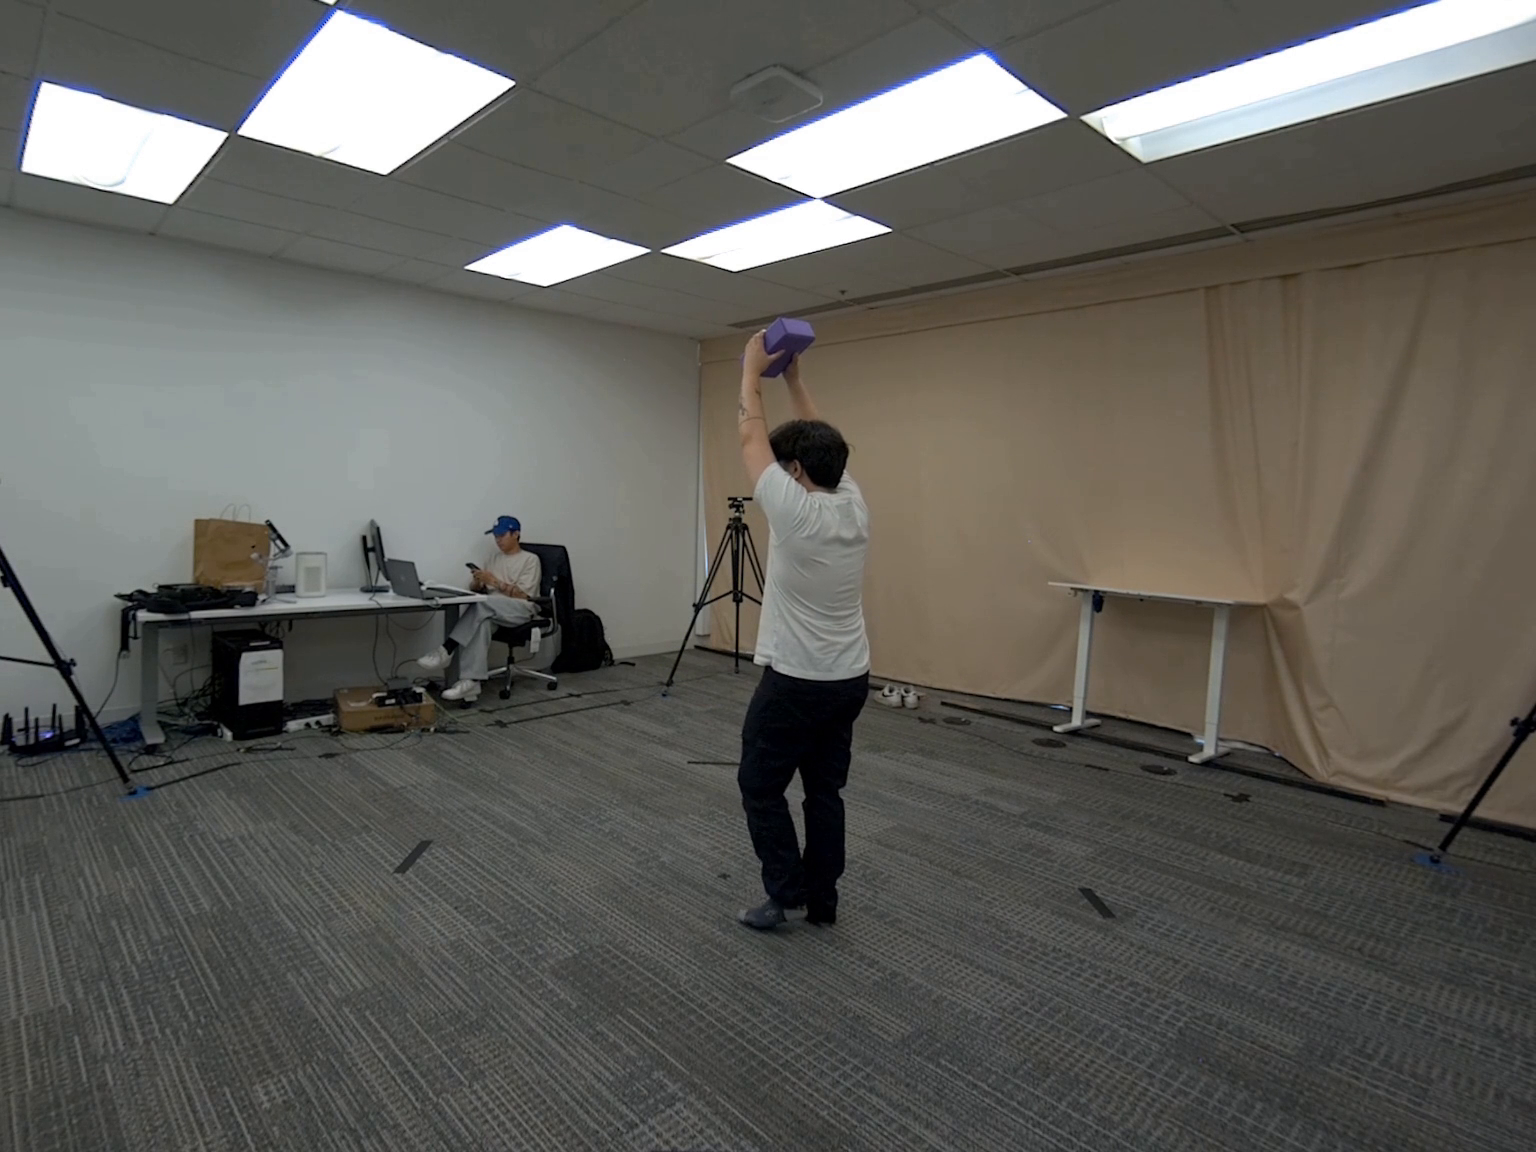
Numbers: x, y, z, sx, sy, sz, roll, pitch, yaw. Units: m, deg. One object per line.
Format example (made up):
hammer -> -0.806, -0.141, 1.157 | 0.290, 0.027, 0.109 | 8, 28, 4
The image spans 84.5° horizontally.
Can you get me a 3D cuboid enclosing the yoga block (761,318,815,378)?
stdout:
yoga block -> 0.027, -0.759, 2.823 | 0.146, 0.077, 0.230 | -7, -21, -45
